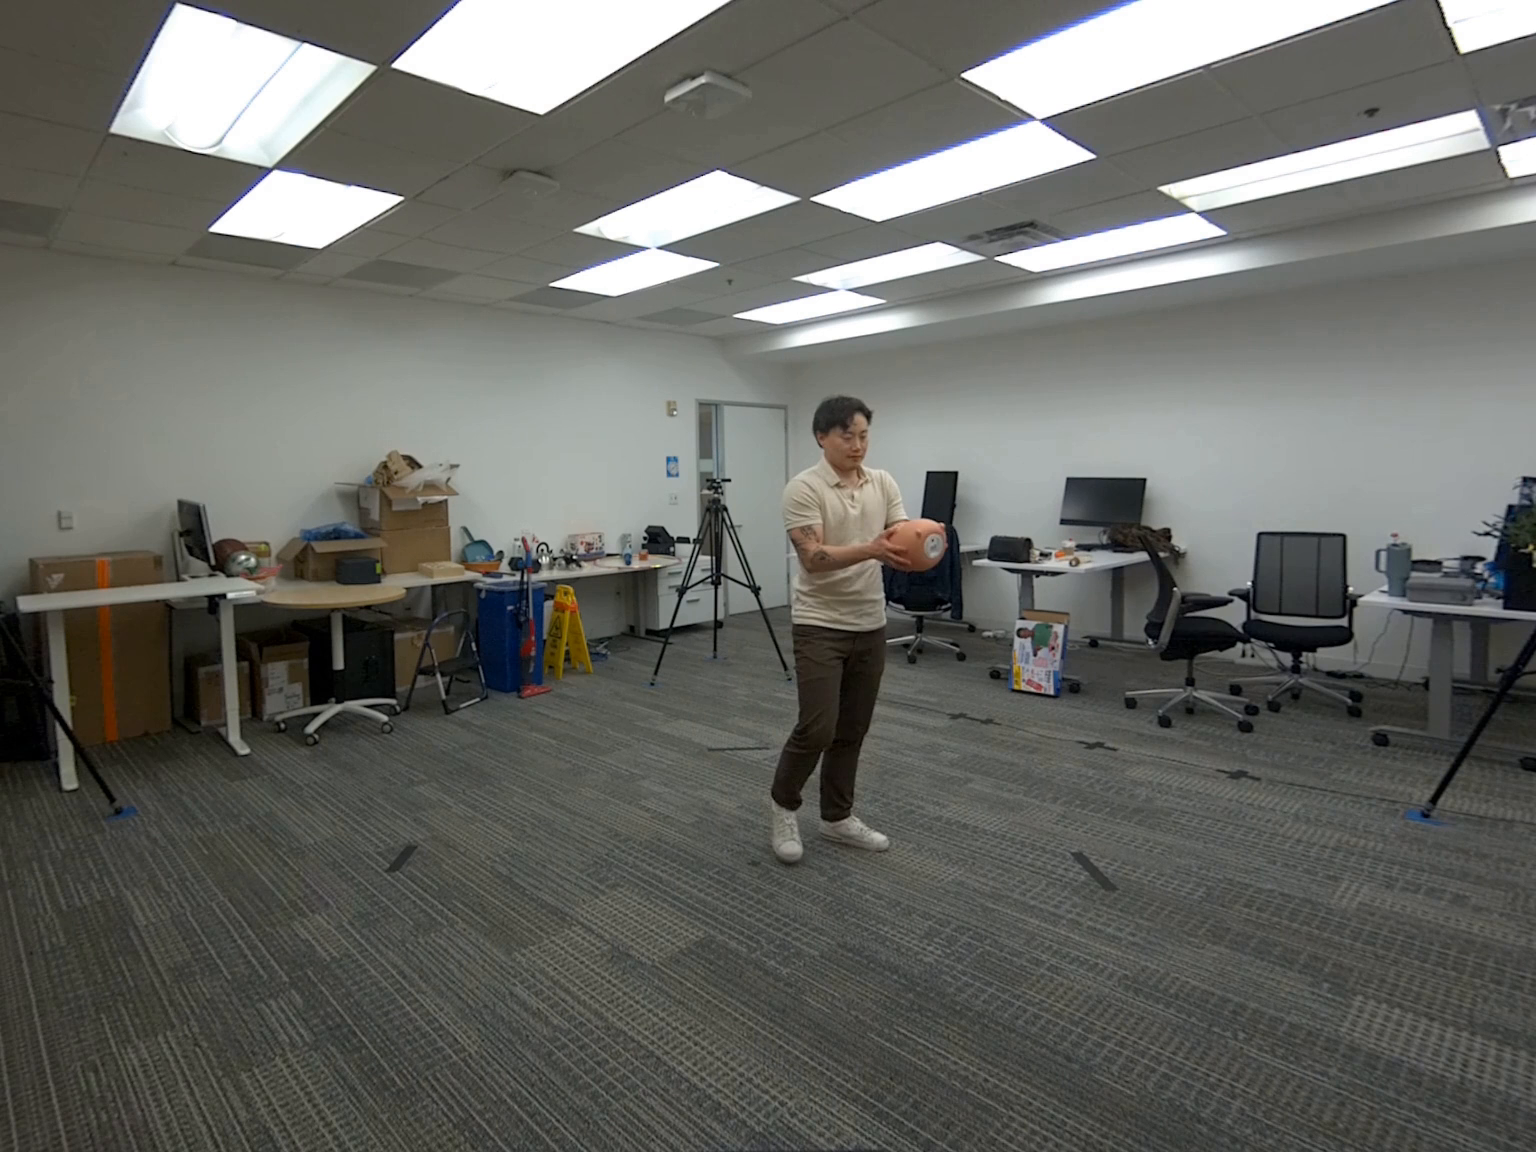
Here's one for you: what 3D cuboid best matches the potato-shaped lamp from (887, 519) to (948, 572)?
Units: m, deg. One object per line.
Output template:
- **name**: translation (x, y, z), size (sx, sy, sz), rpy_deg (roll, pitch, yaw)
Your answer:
- **potato-shaped lamp**: translation (0.473, -0.105, 2.799), size (0.162, 0.168, 0.205), rpy_deg (-16, 20, -27)
